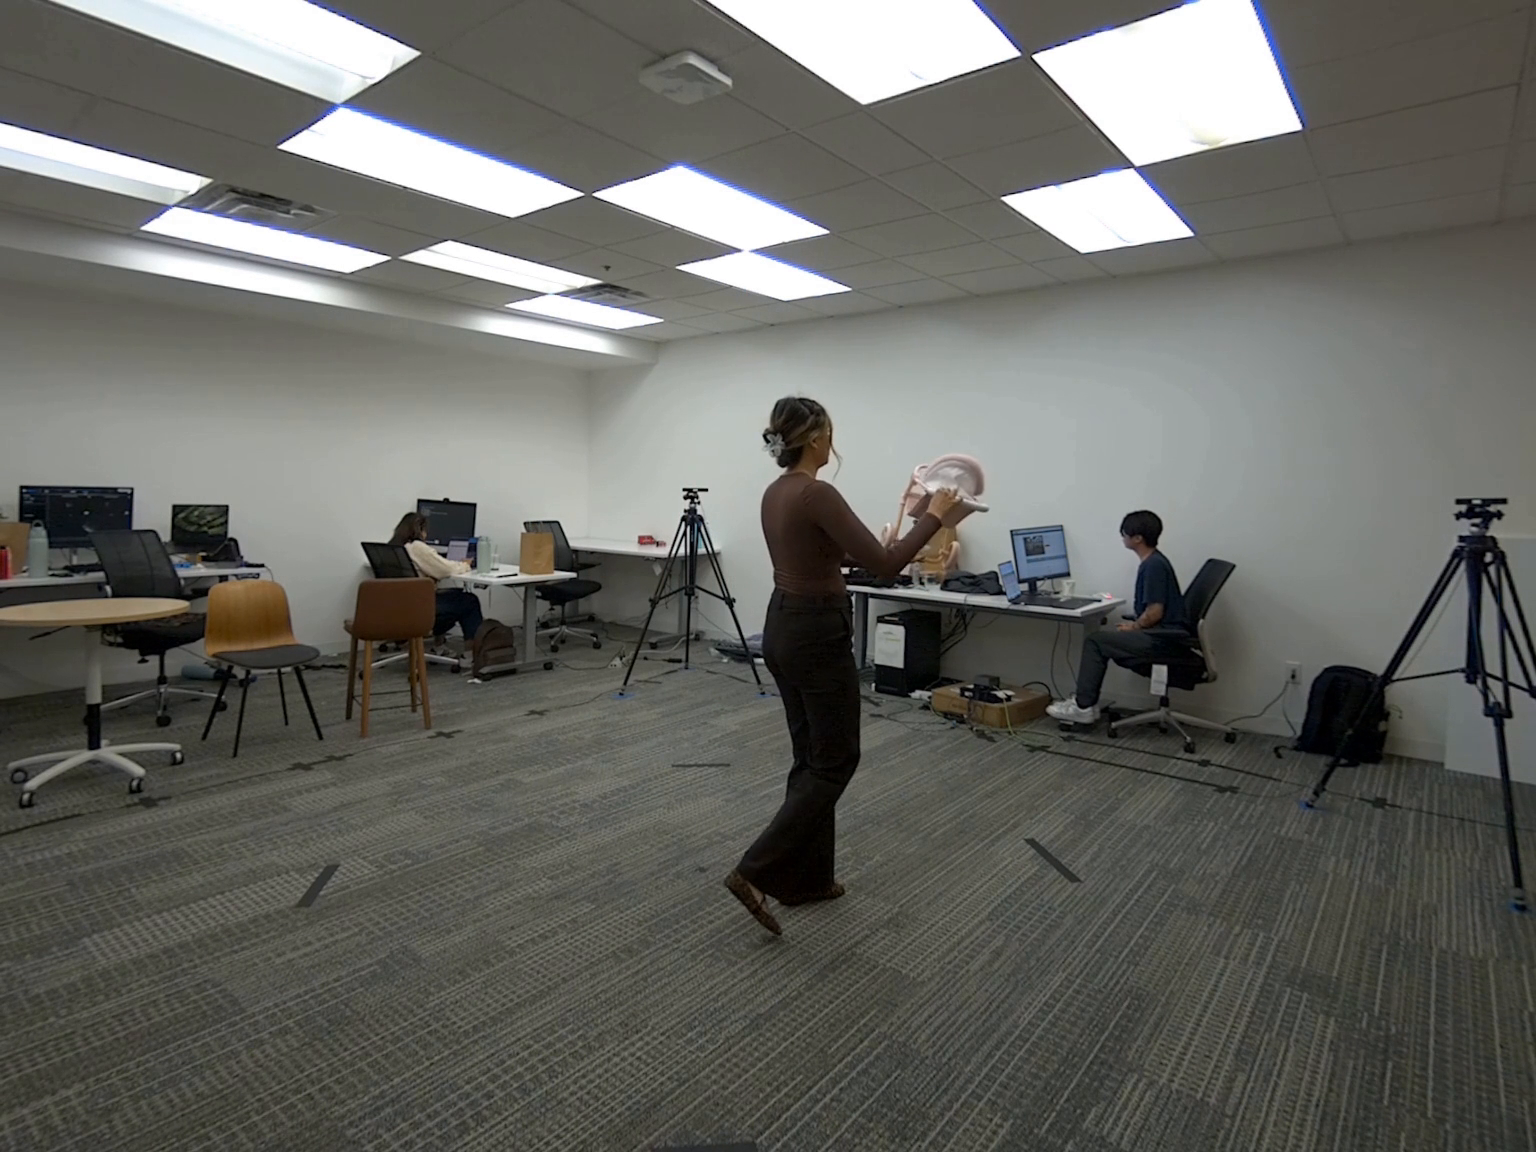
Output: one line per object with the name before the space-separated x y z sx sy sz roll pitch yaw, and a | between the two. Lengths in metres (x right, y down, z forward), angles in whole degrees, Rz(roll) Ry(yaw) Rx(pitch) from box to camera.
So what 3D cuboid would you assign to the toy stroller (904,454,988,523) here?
toy stroller | 0.595 -0.263 3.061 0.282 0.346 0.527 20 -28 -1
